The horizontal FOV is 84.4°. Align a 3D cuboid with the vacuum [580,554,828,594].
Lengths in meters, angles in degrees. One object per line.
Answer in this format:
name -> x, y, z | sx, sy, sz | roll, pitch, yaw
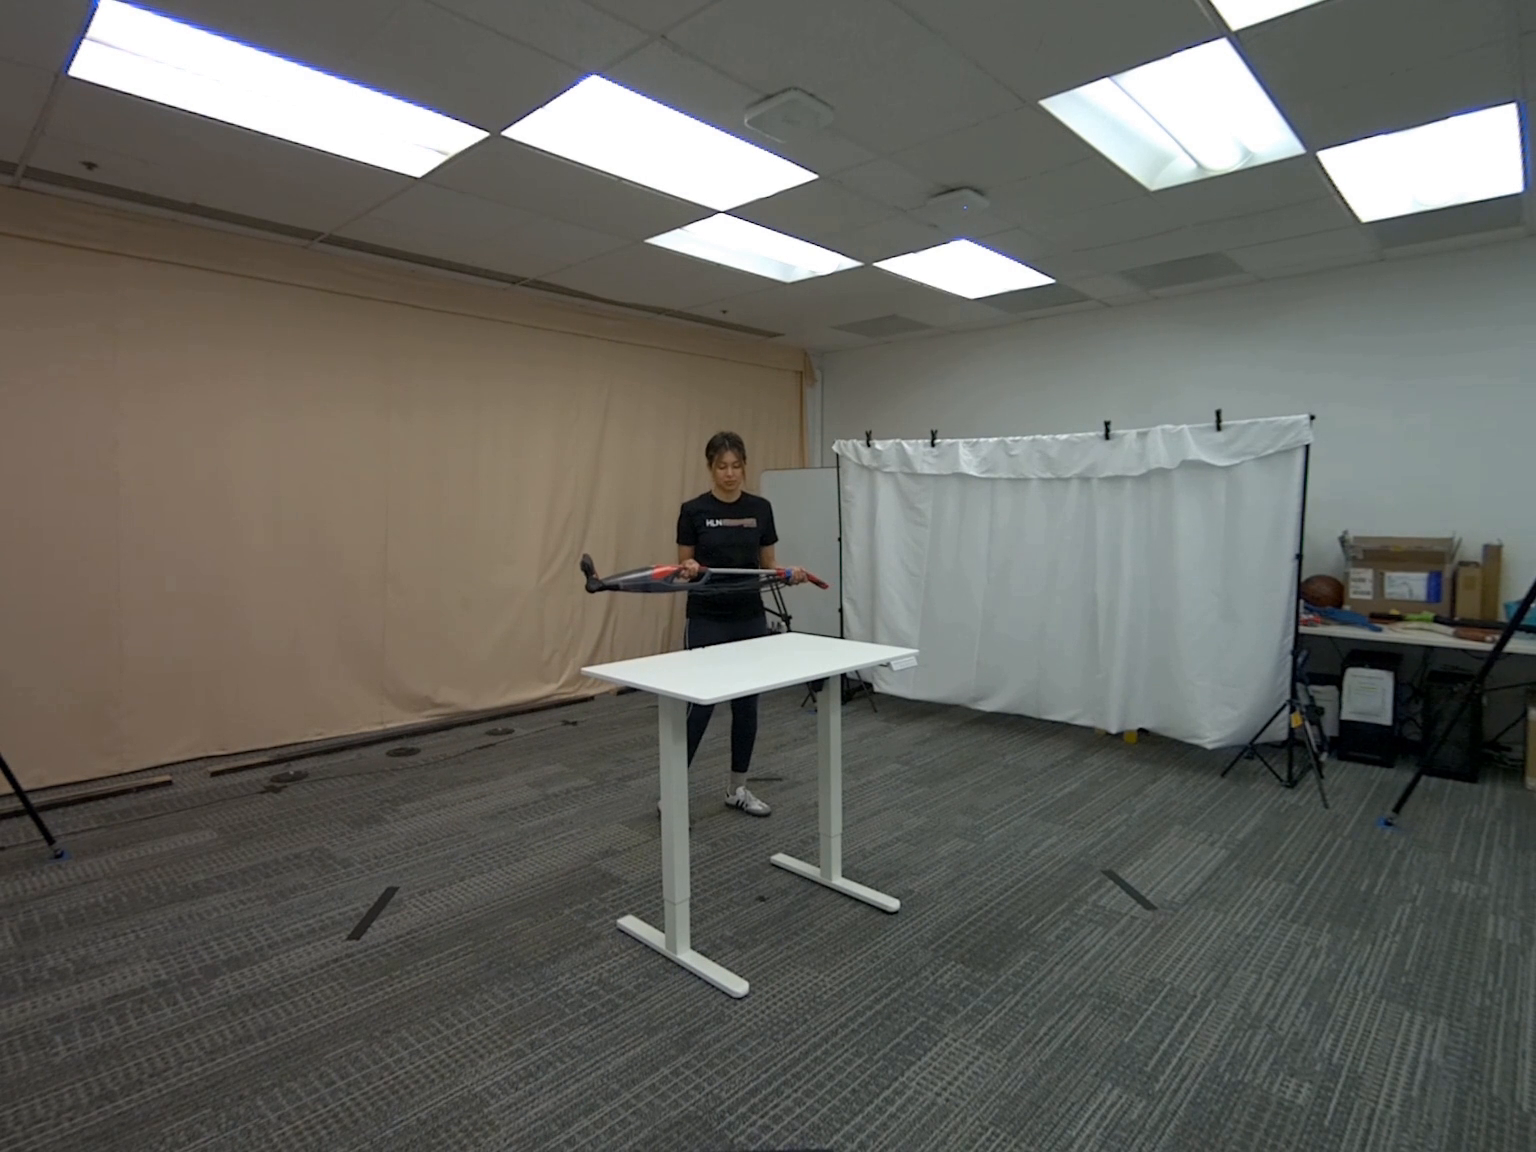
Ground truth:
vacuum -> -0.250, 0.025, 3.551 | 1.038, 0.145, 0.254 | 3, -8, -10
